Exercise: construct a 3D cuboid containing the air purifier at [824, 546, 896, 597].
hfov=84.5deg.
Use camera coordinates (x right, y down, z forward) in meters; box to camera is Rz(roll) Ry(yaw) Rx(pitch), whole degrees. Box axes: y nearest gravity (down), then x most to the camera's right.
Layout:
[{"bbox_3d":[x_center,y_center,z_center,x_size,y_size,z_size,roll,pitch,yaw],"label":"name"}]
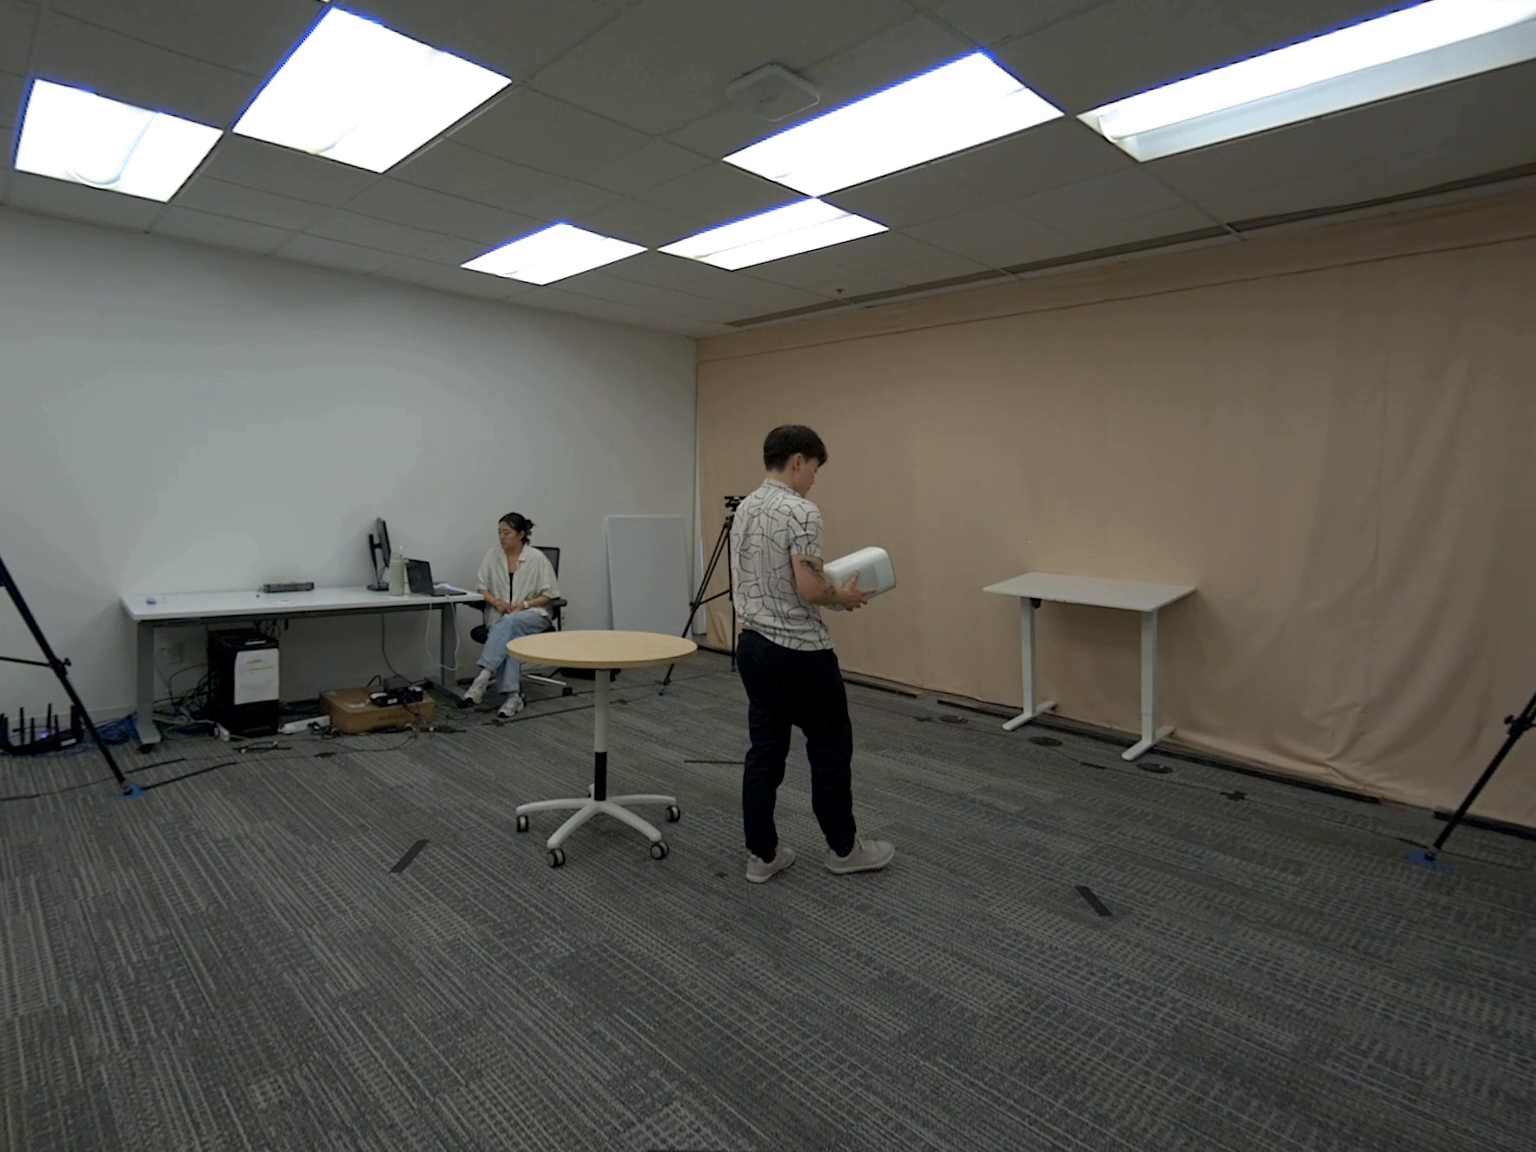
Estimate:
[{"bbox_3d":[0.319,0.010,3.200,0.262,0.170,0.175,-22,13,-25],"label":"air purifier"}]
